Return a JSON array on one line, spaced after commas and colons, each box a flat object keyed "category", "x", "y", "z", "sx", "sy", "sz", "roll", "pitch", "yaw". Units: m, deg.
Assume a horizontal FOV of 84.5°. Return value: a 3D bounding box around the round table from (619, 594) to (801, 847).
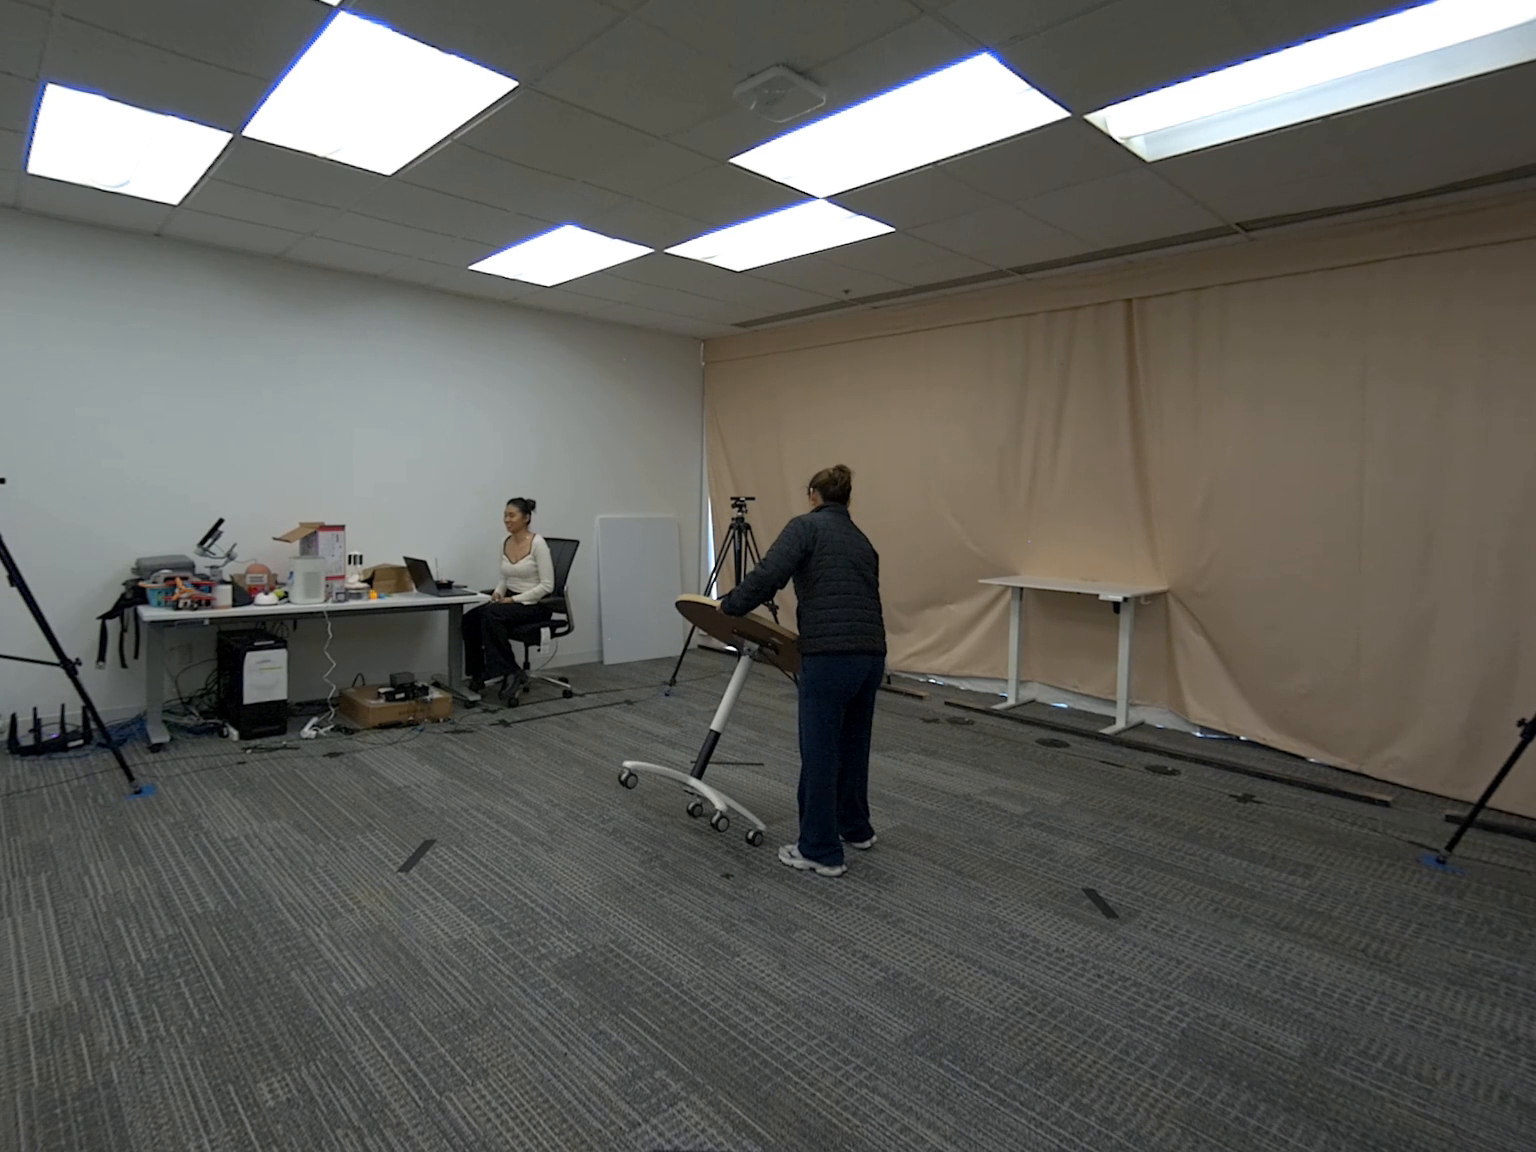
[{"category": "round table", "x": -0.201, "y": 0.607, "z": 3.487, "sx": 0.790, "sy": 0.791, "sz": 0.776, "roll": 23, "pitch": -16, "yaw": 5}]
